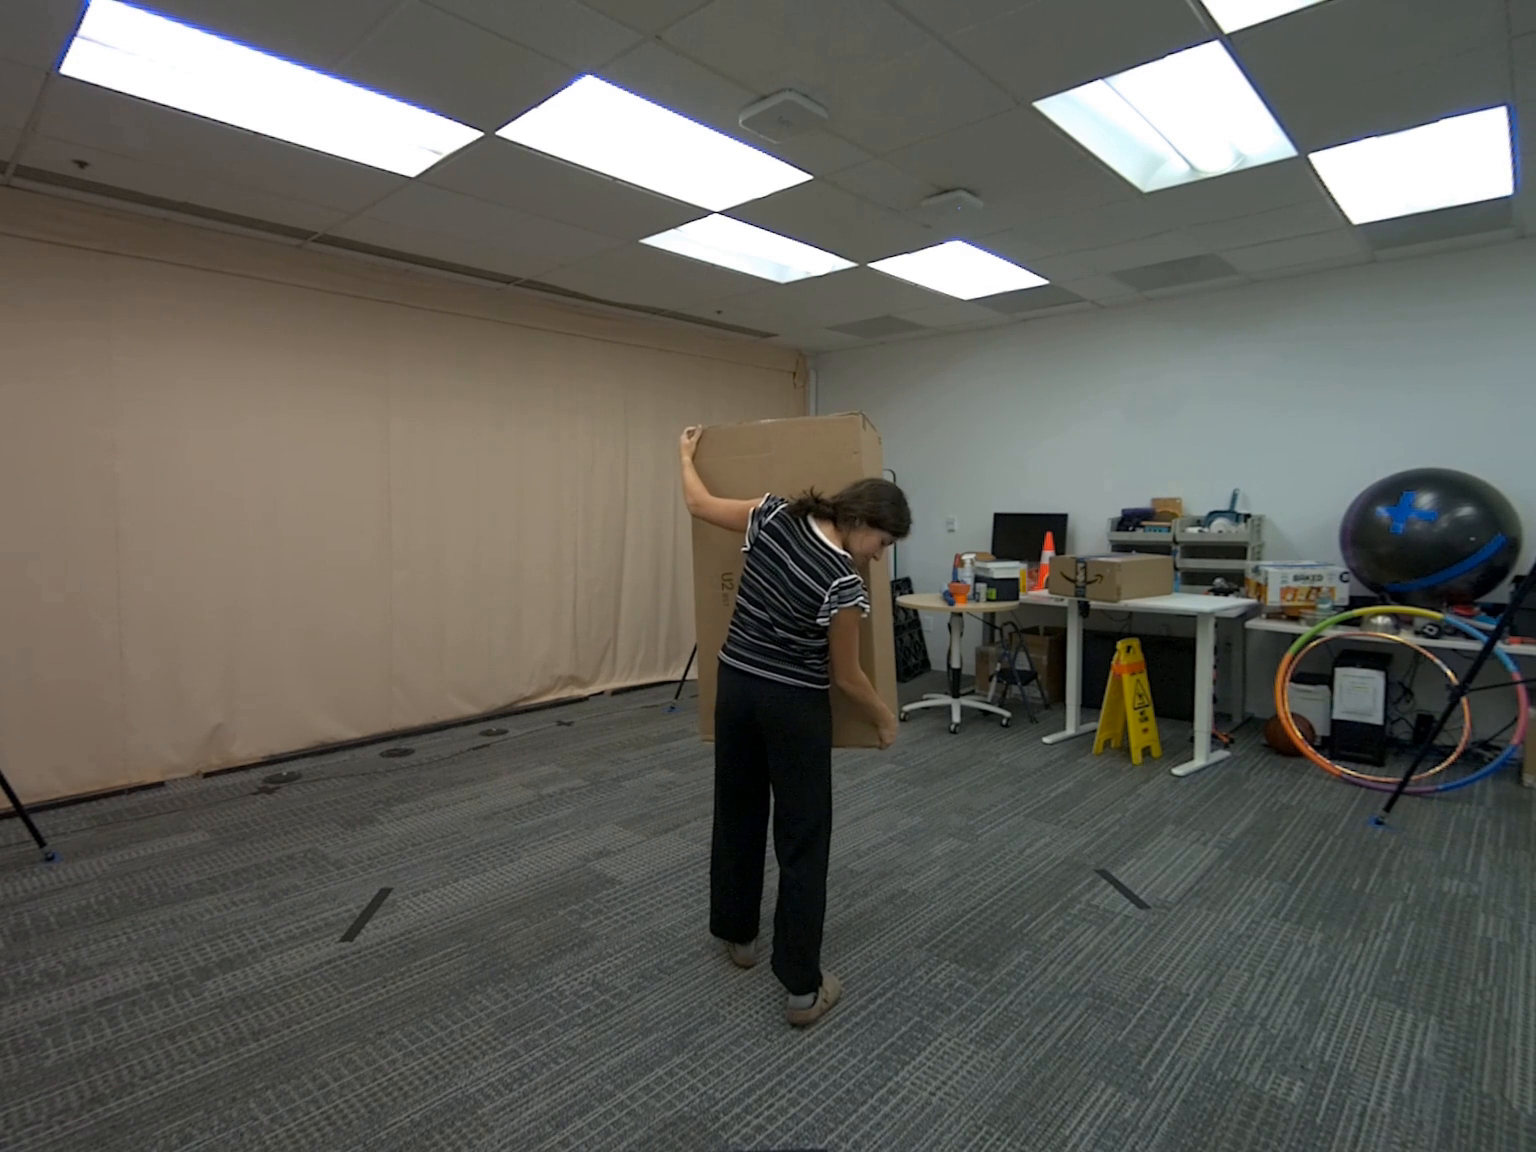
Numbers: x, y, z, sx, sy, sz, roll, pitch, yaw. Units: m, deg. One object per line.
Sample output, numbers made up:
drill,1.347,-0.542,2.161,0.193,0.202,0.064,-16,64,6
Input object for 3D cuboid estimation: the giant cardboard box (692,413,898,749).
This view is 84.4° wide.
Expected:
giant cardboard box,0.097,0.021,2.825,0.588,1.028,0.417,-4,-3,18
